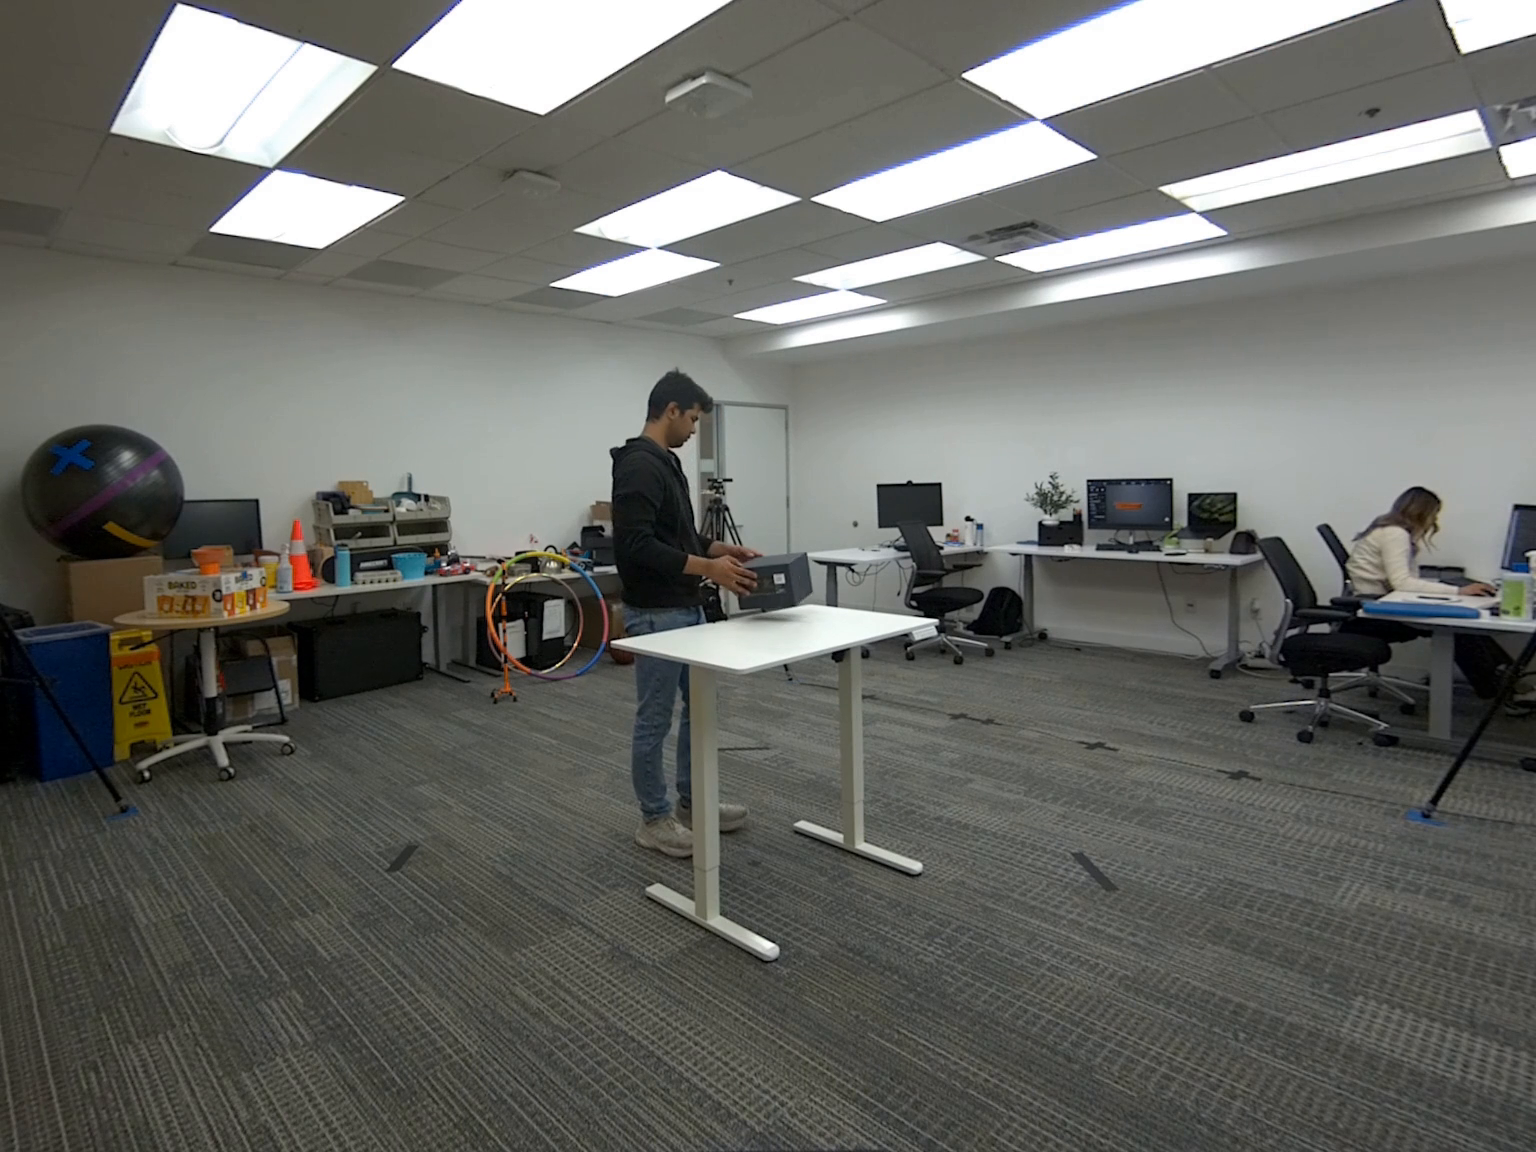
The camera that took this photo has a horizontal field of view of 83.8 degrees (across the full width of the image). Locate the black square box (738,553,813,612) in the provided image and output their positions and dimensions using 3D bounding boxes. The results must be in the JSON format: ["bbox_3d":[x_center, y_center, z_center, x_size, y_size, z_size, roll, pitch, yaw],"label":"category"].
[{"bbox_3d":[0.016,0.021,3.167,0.221,0.155,0.225,-5,9,22],"label":"black square box"}]
